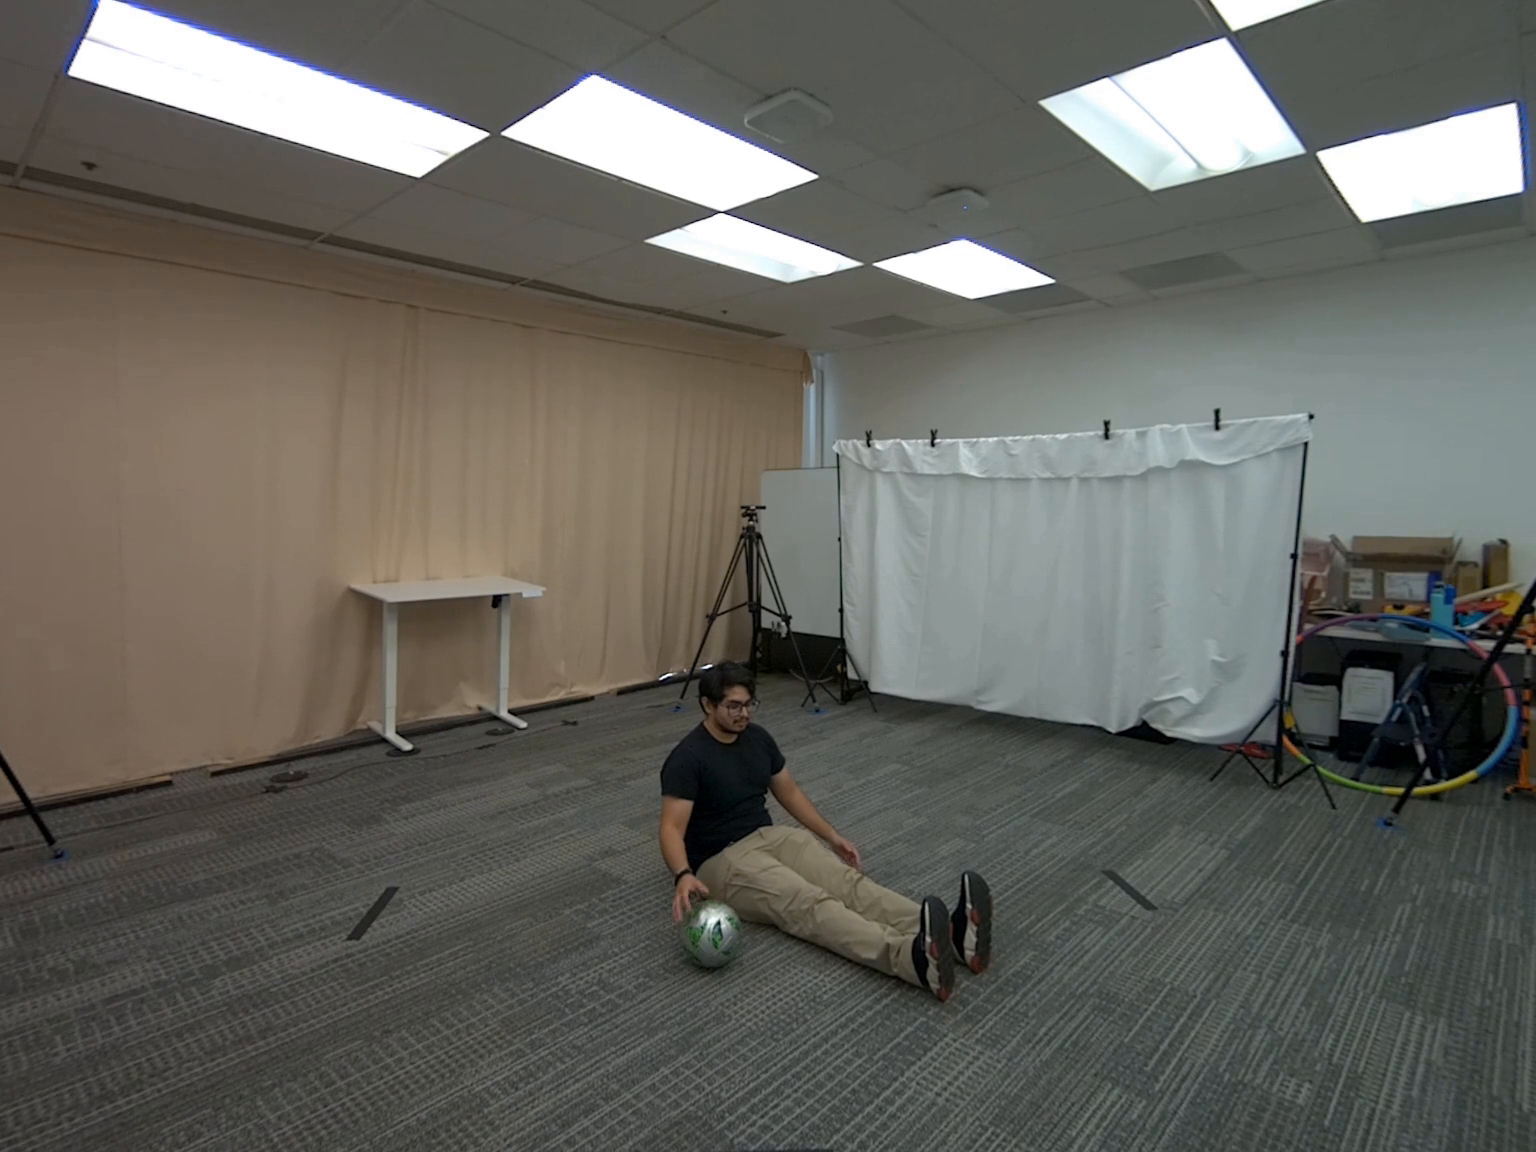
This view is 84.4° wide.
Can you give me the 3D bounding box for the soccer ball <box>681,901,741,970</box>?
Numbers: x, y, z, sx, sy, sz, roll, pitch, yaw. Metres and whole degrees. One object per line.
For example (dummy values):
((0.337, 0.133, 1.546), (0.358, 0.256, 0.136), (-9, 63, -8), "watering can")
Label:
((-0.164, 1.080, 2.561), (0.187, 0.187, 0.188), (0, 4, -2), "soccer ball")
